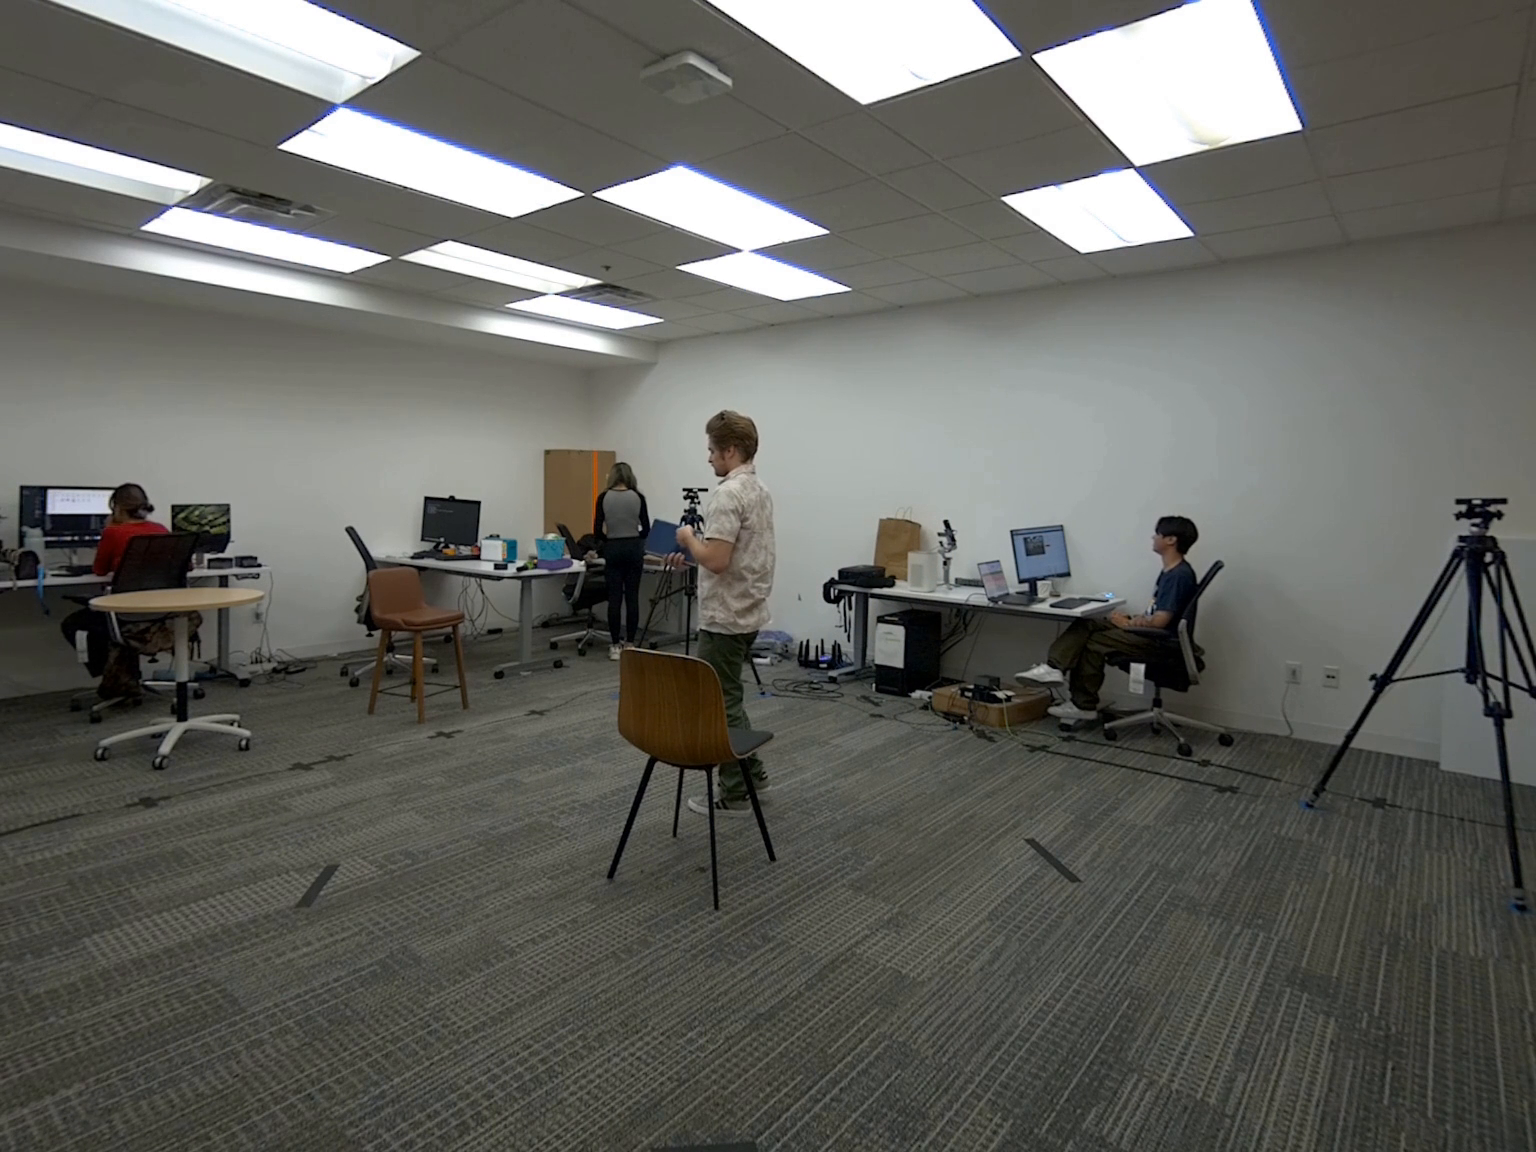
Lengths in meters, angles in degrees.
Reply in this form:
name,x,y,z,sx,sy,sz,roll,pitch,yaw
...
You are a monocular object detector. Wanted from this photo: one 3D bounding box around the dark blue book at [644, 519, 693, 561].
name,x,y,z,sx,sy,sz,roll,pitch,yaw
dark blue book,-0.424,-0.153,3.781,0.247,0.165,0.044,15,-18,7
